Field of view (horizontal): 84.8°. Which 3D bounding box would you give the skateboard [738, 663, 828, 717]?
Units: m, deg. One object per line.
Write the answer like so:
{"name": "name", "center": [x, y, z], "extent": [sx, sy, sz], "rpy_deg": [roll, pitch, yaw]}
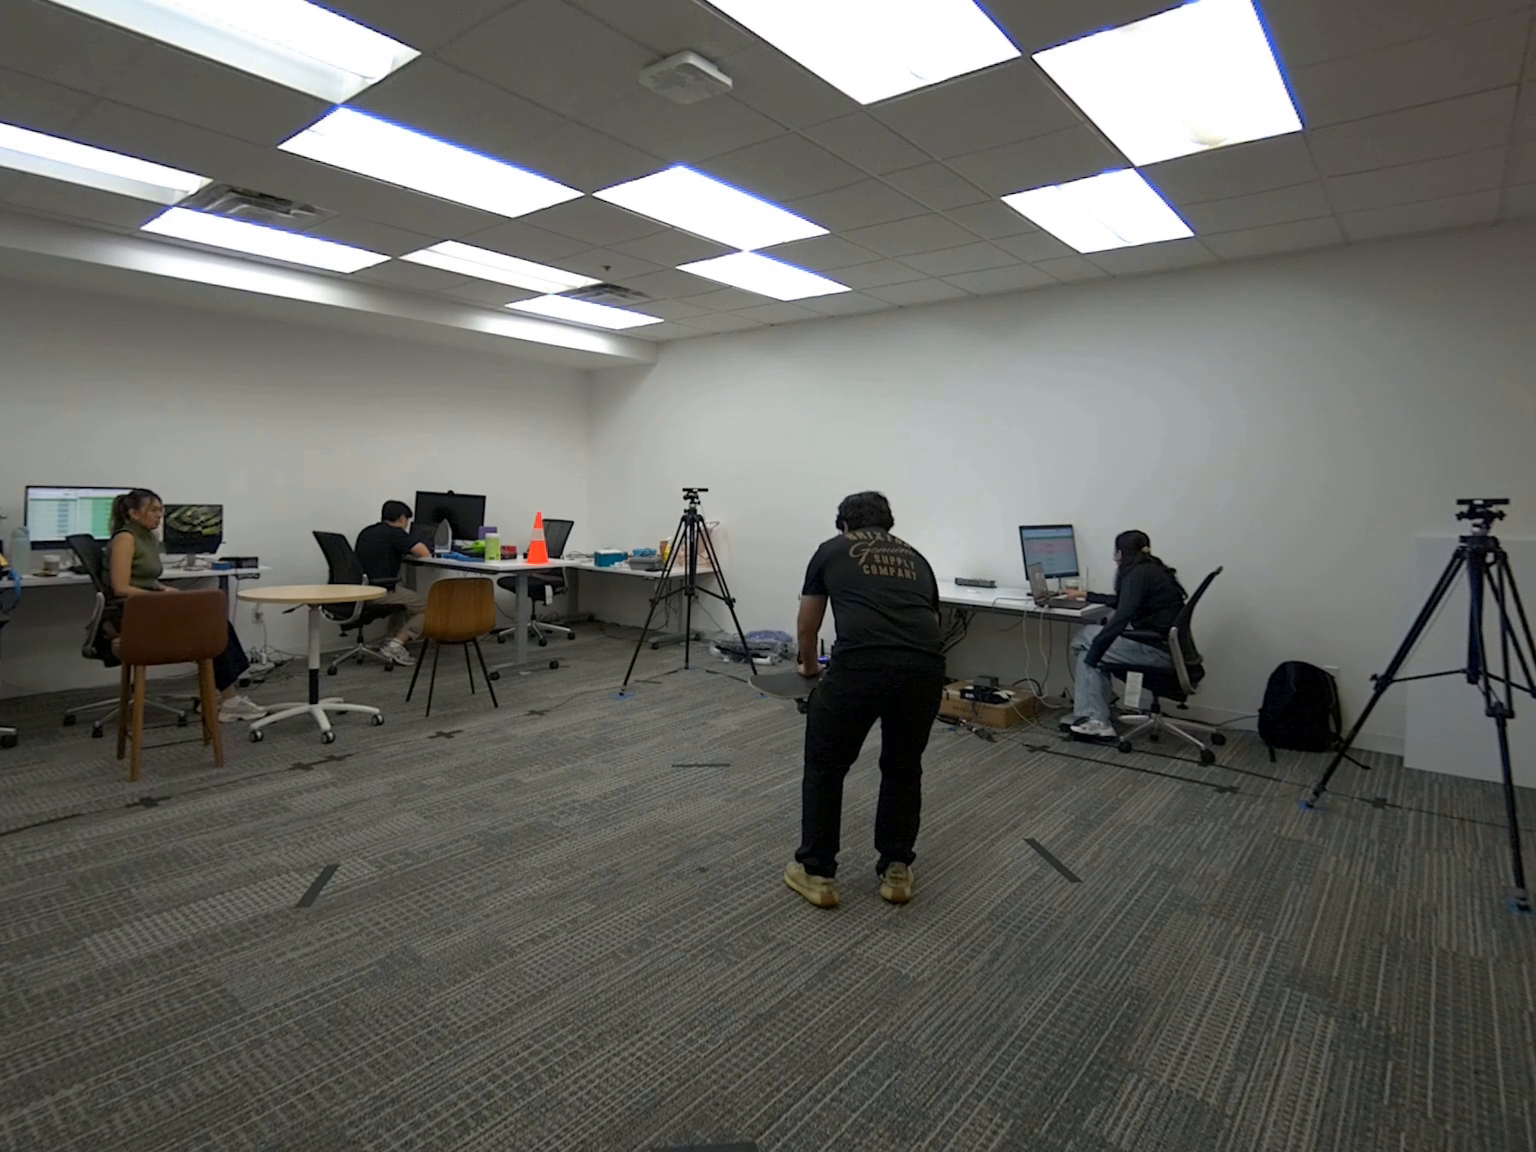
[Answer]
{"name": "skateboard", "center": [0.288, 0.434, 3.367], "extent": [0.772, 0.109, 0.199], "rpy_deg": [-2, 18, -17]}
